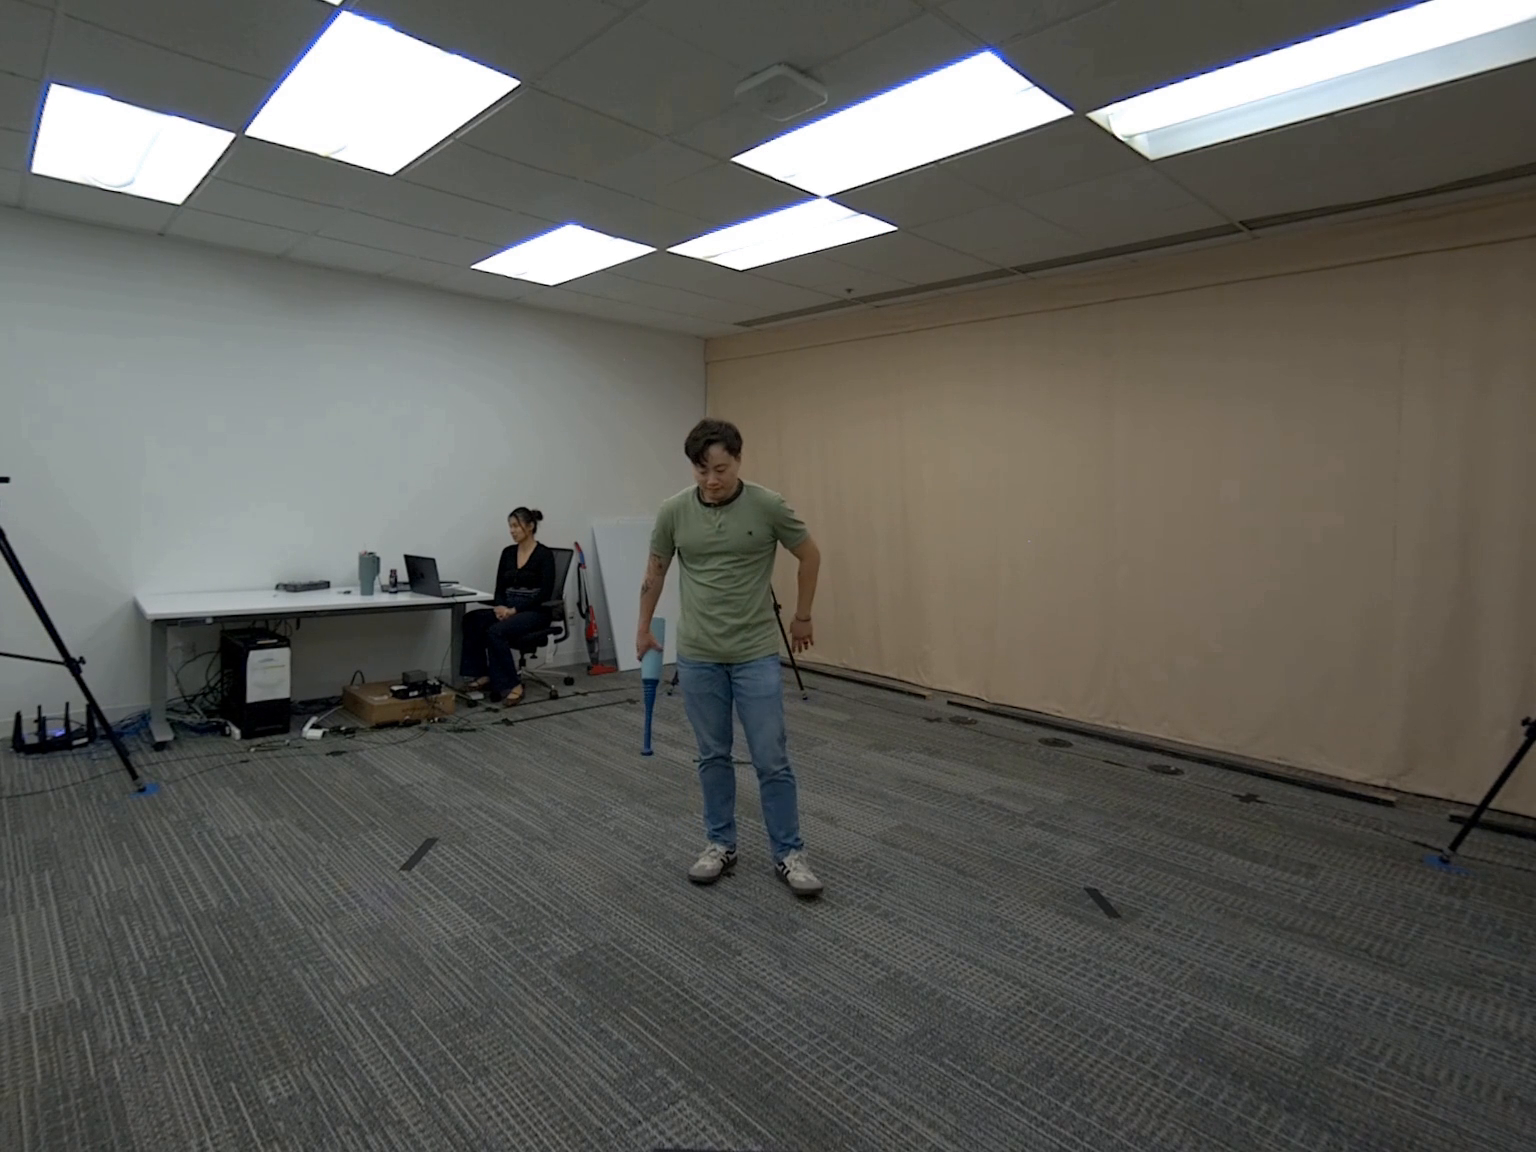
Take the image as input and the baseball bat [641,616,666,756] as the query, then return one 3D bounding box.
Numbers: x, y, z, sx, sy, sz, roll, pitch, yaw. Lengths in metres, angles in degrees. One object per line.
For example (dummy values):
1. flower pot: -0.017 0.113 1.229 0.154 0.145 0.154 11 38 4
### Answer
1. baseball bat: -0.463 0.424 3.297 0.089 0.548 0.088 1 -13 -1
